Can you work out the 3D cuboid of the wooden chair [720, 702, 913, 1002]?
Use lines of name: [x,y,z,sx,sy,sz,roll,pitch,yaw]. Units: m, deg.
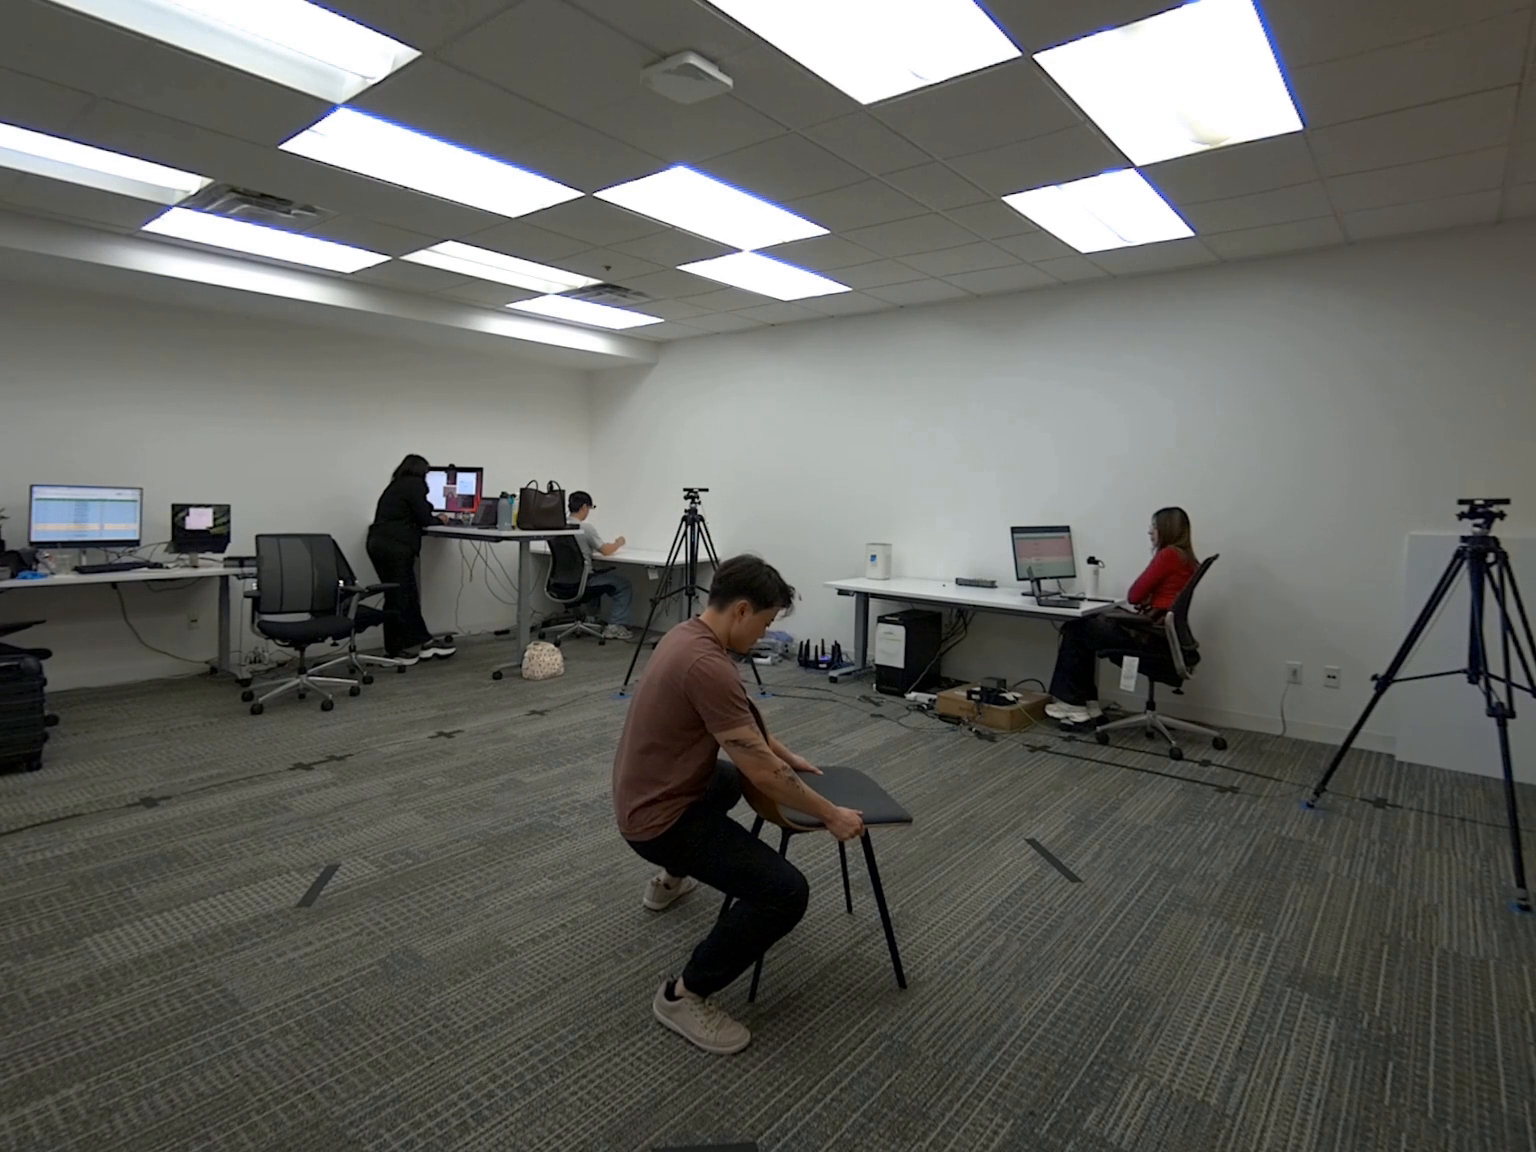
wooden chair: [0.136,0.708,2.544,0.517,0.874,0.486,-4,4,-12]
